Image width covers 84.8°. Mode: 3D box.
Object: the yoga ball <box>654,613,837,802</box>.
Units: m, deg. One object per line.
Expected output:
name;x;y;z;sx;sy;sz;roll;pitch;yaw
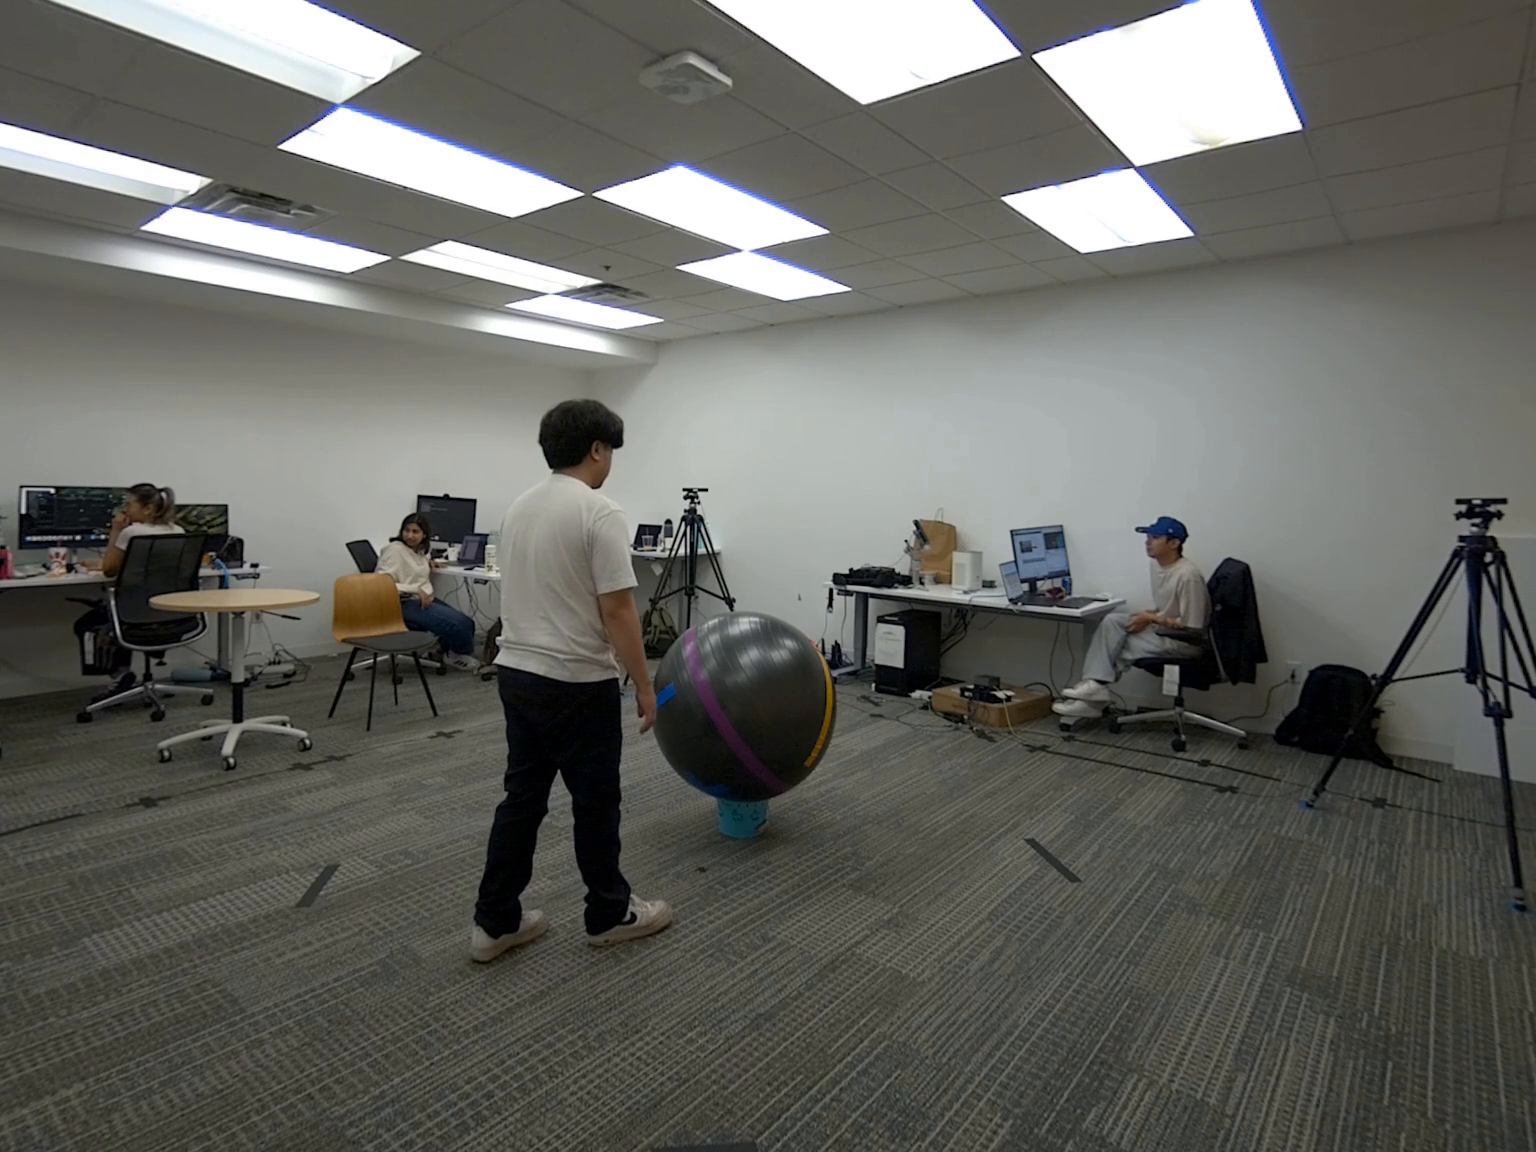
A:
yoga ball;-0.106;0.524;3.467;0.757;0.755;0.762;1;4;-2
